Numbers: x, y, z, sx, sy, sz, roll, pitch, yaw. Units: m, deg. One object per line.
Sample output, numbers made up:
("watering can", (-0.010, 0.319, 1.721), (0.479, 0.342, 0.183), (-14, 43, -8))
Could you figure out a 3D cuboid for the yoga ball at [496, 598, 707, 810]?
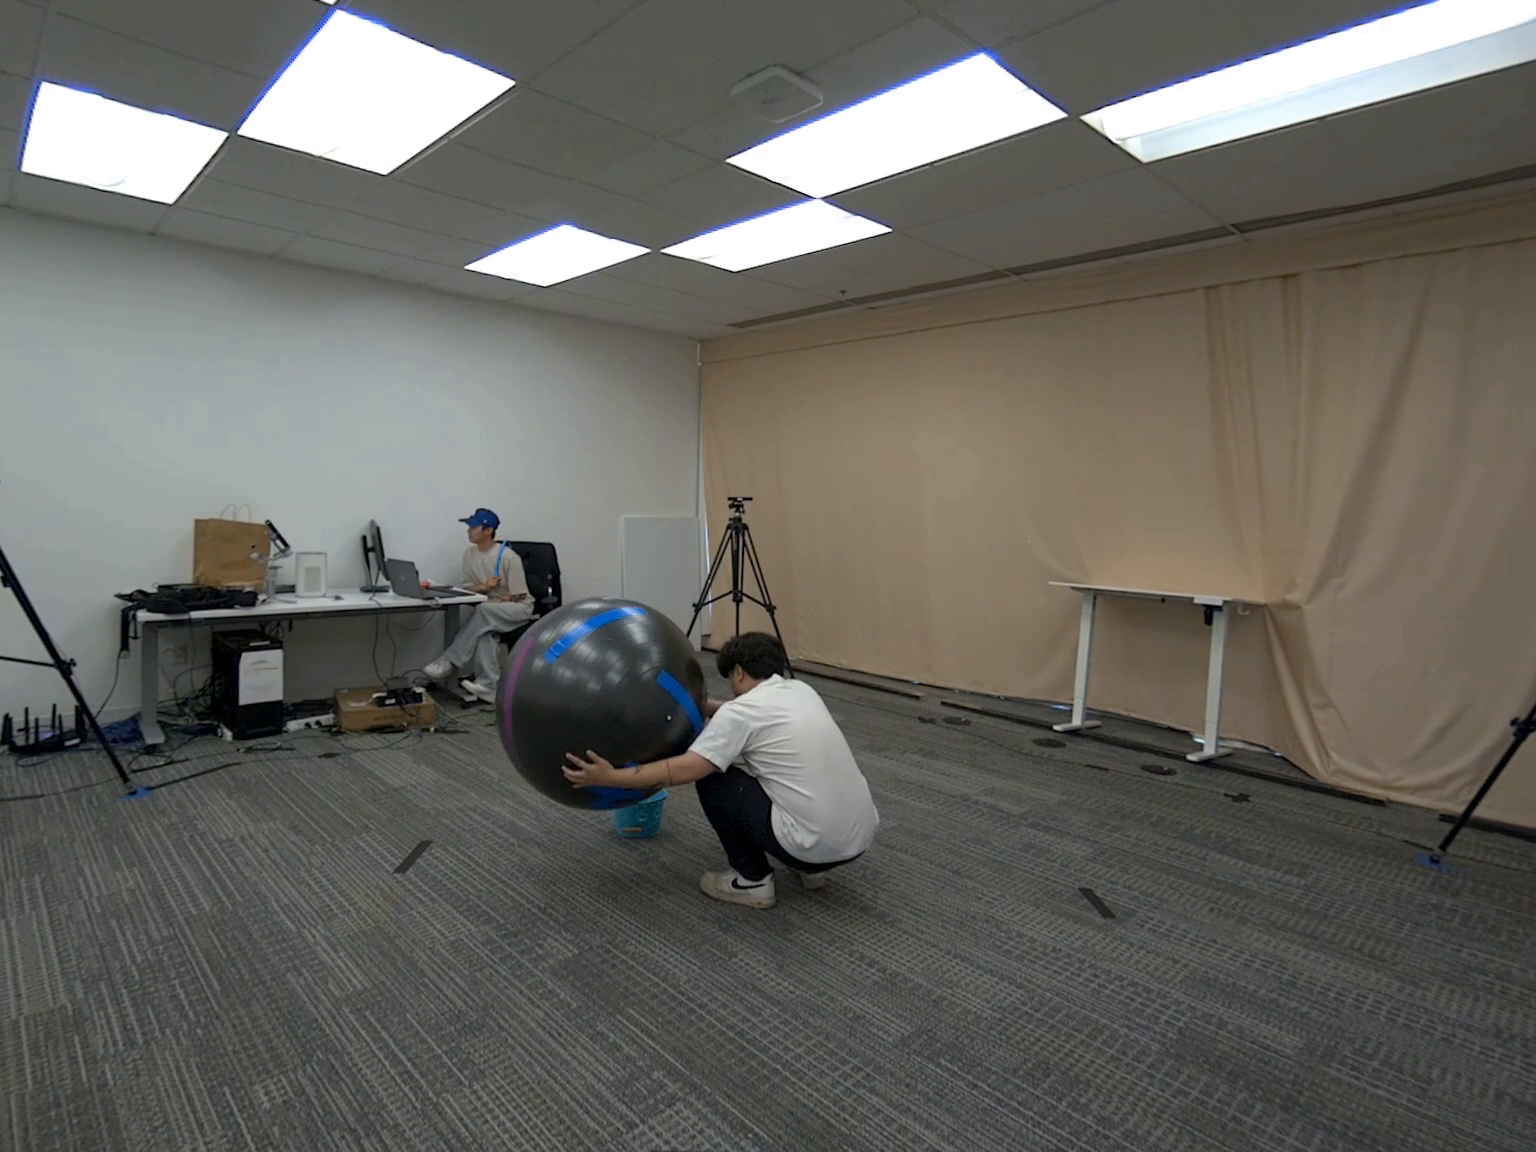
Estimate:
("yoga ball", (-0.607, 0.461, 3.064), (0.757, 0.756, 0.760), (1, 4, -1))
